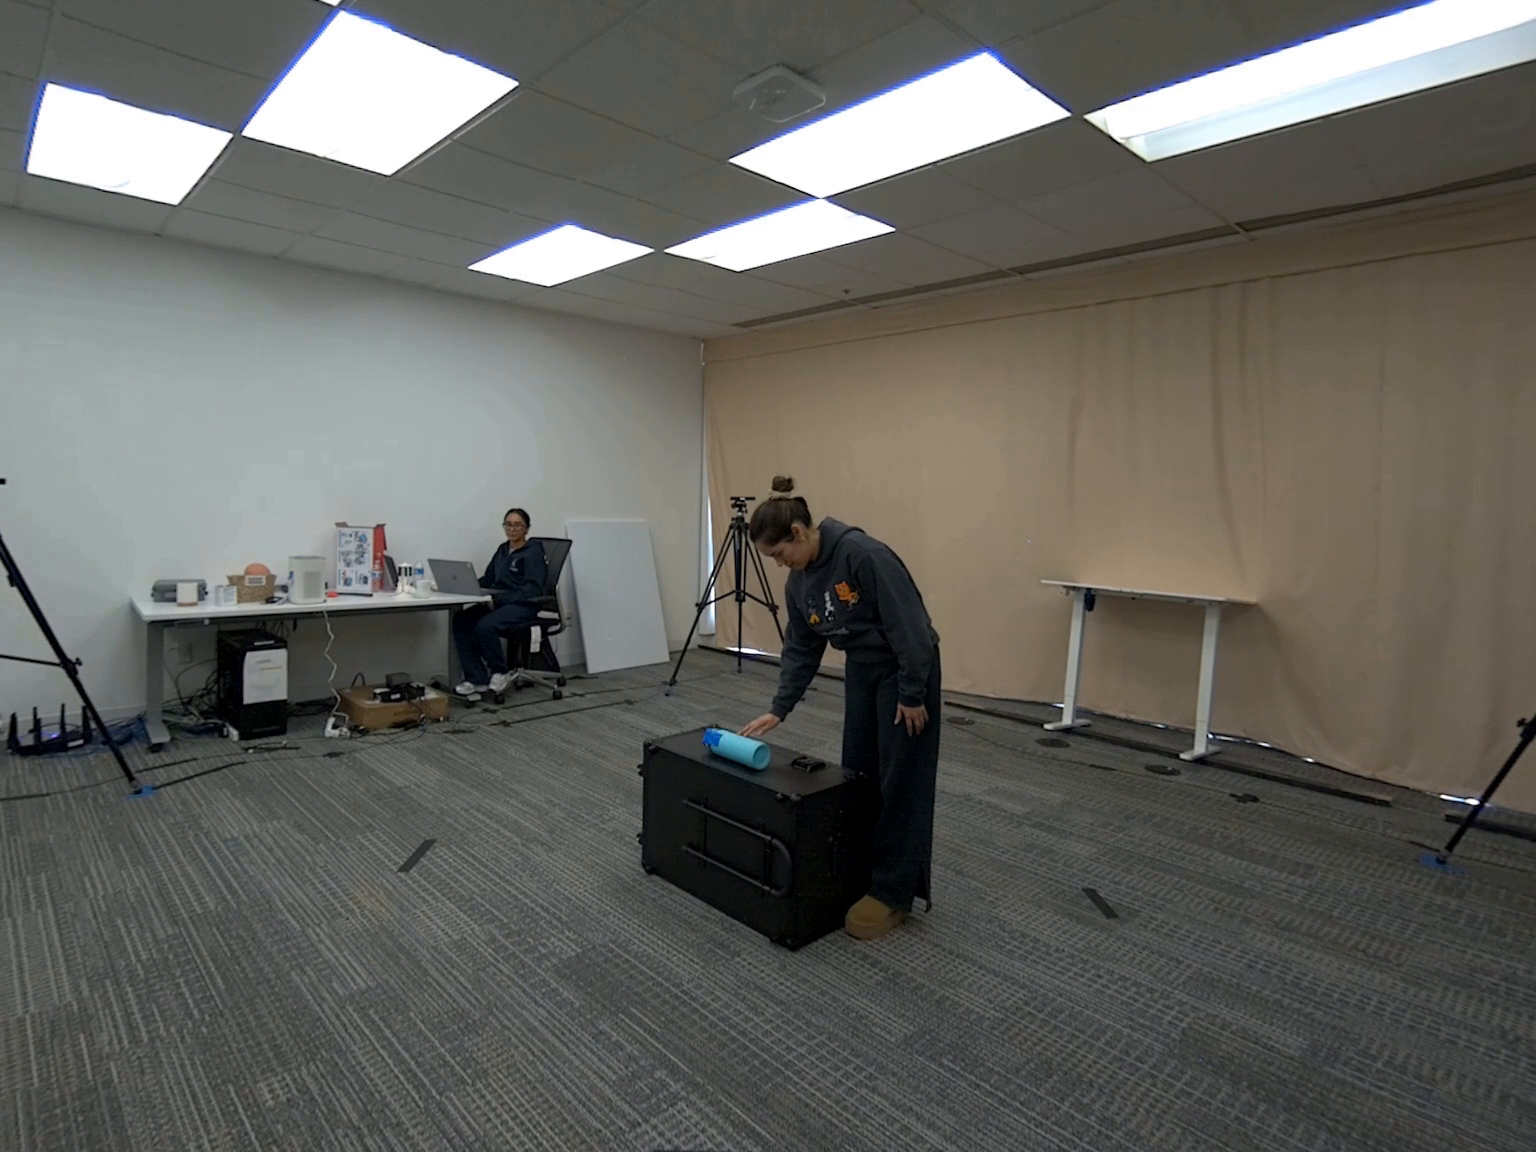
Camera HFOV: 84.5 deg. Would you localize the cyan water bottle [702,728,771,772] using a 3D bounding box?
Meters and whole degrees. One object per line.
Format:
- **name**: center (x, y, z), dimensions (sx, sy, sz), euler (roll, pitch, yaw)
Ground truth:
- **cyan water bottle**: center (-0.119, 0.588, 2.941), dimensions (0.090, 0.092, 0.291), euler (-3, 6, -44)
